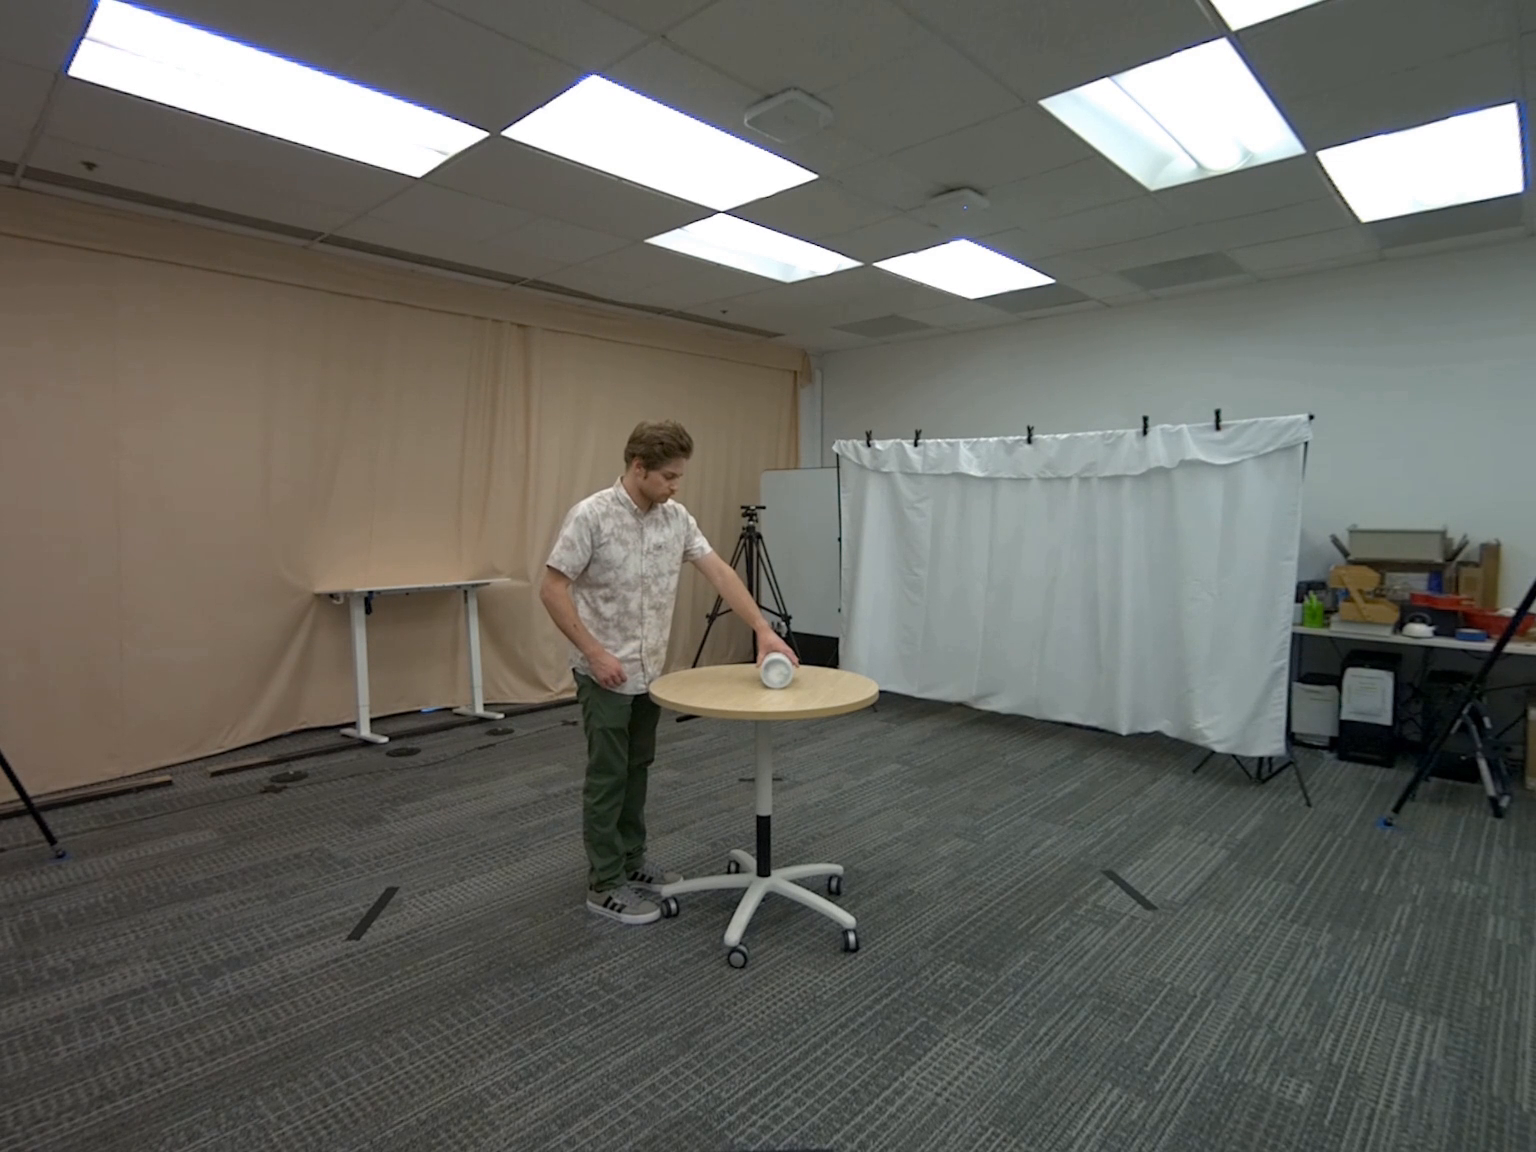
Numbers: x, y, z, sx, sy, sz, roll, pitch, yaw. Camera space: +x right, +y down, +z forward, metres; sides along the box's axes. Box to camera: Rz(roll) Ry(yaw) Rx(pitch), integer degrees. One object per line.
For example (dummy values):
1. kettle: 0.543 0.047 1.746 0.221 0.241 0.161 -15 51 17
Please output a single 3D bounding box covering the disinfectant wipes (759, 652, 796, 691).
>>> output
1. disinfectant wipes: 0.036 0.313 2.838 0.117 0.117 0.219 0 9 -5
